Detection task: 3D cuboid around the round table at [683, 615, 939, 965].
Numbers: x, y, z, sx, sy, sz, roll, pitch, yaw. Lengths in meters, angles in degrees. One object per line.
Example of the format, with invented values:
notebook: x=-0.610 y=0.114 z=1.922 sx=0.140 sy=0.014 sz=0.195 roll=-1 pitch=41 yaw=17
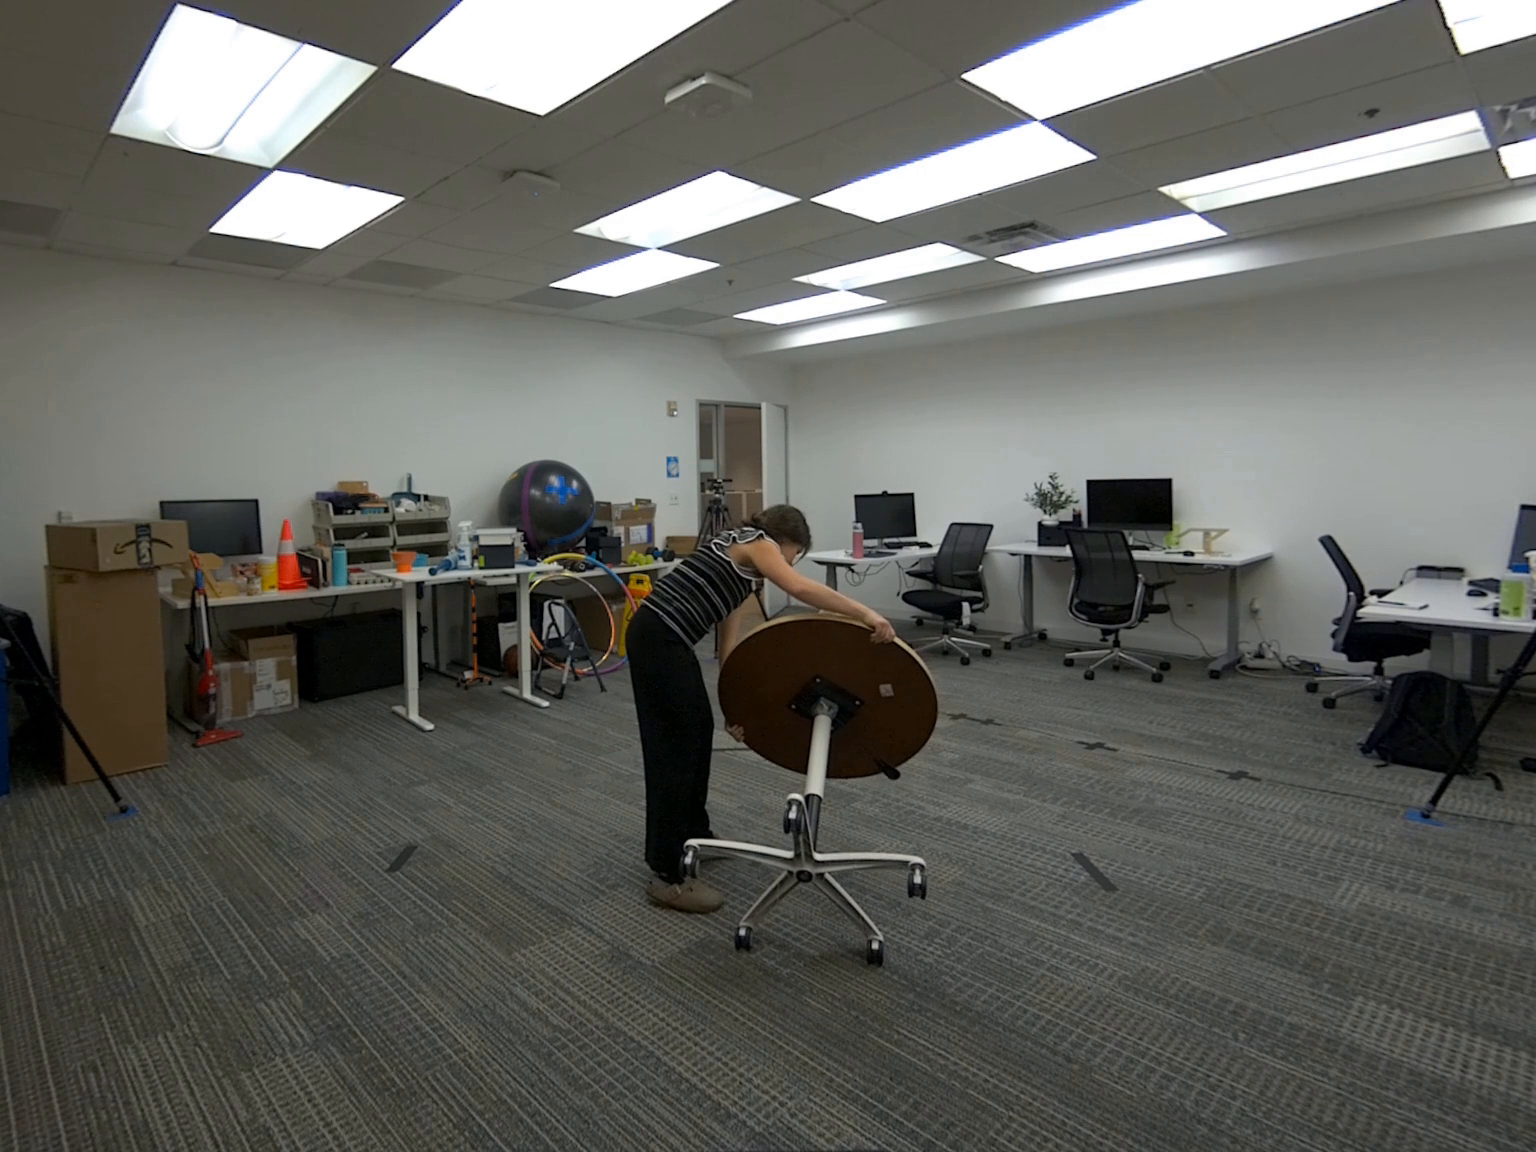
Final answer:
round table: x=0.153 y=0.666 z=2.665 sx=0.773 sy=0.742 sz=0.808 roll=0 pitch=35 yaw=11
